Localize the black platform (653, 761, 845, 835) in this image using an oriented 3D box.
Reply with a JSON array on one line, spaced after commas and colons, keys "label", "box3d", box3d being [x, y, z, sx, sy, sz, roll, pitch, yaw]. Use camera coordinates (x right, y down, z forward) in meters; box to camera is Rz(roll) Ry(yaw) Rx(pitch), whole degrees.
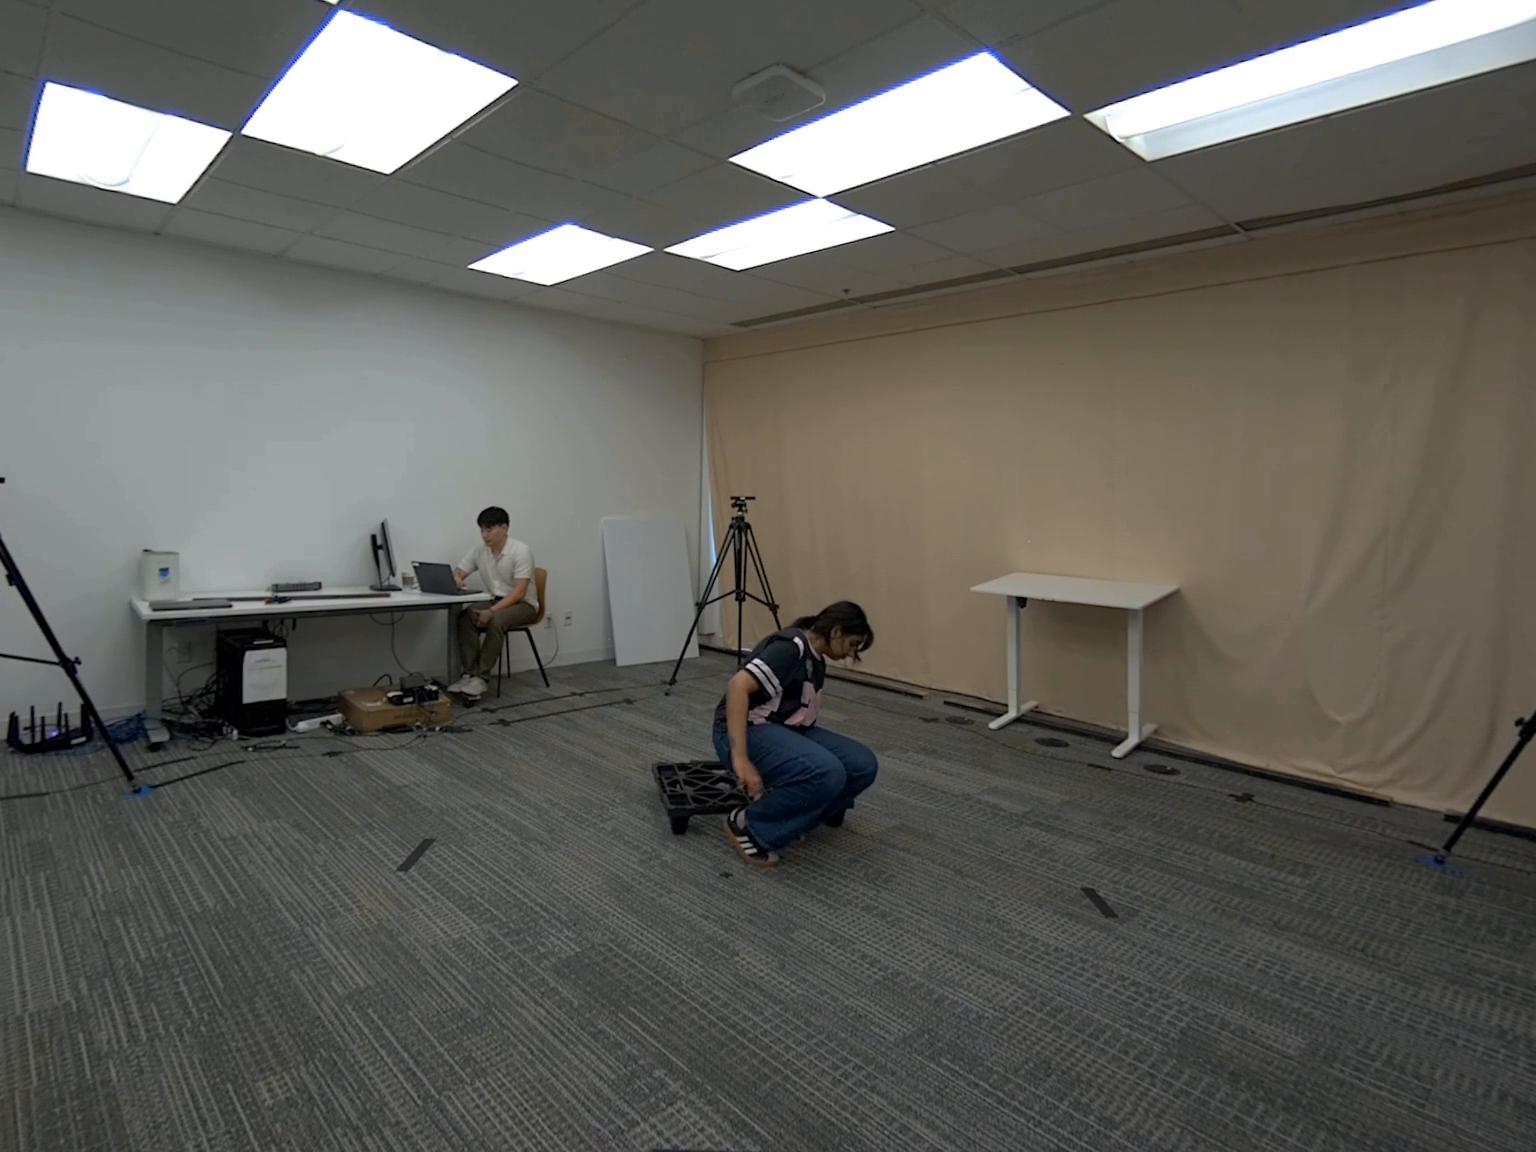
[{"label": "black platform", "box3d": [-0.093, 0.982, 3.767, 0.798, 0.143, 0.613, 0, 5, -12]}]
